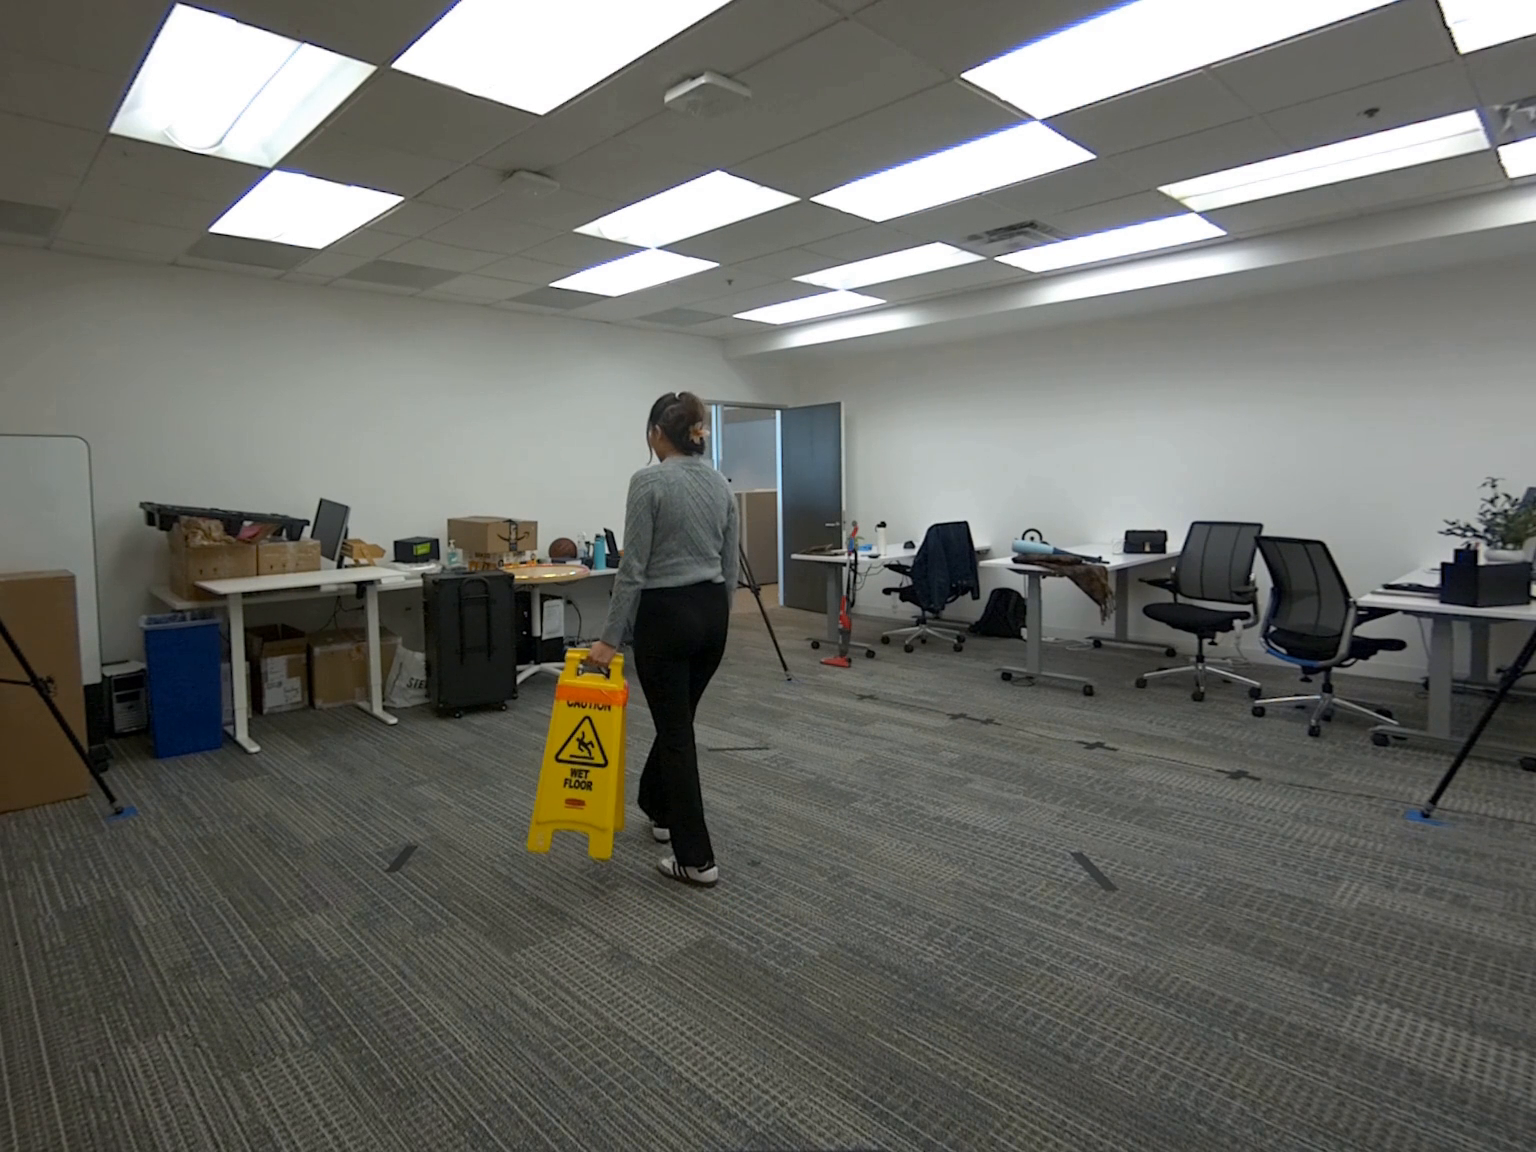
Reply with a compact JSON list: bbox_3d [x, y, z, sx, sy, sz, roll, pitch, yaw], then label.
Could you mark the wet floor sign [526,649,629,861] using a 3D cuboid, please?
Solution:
[{"bbox_3d":[-0.620,0.575,2.912,0.282,0.647,0.289,5,-1,0],"label":"wet floor sign"}]
